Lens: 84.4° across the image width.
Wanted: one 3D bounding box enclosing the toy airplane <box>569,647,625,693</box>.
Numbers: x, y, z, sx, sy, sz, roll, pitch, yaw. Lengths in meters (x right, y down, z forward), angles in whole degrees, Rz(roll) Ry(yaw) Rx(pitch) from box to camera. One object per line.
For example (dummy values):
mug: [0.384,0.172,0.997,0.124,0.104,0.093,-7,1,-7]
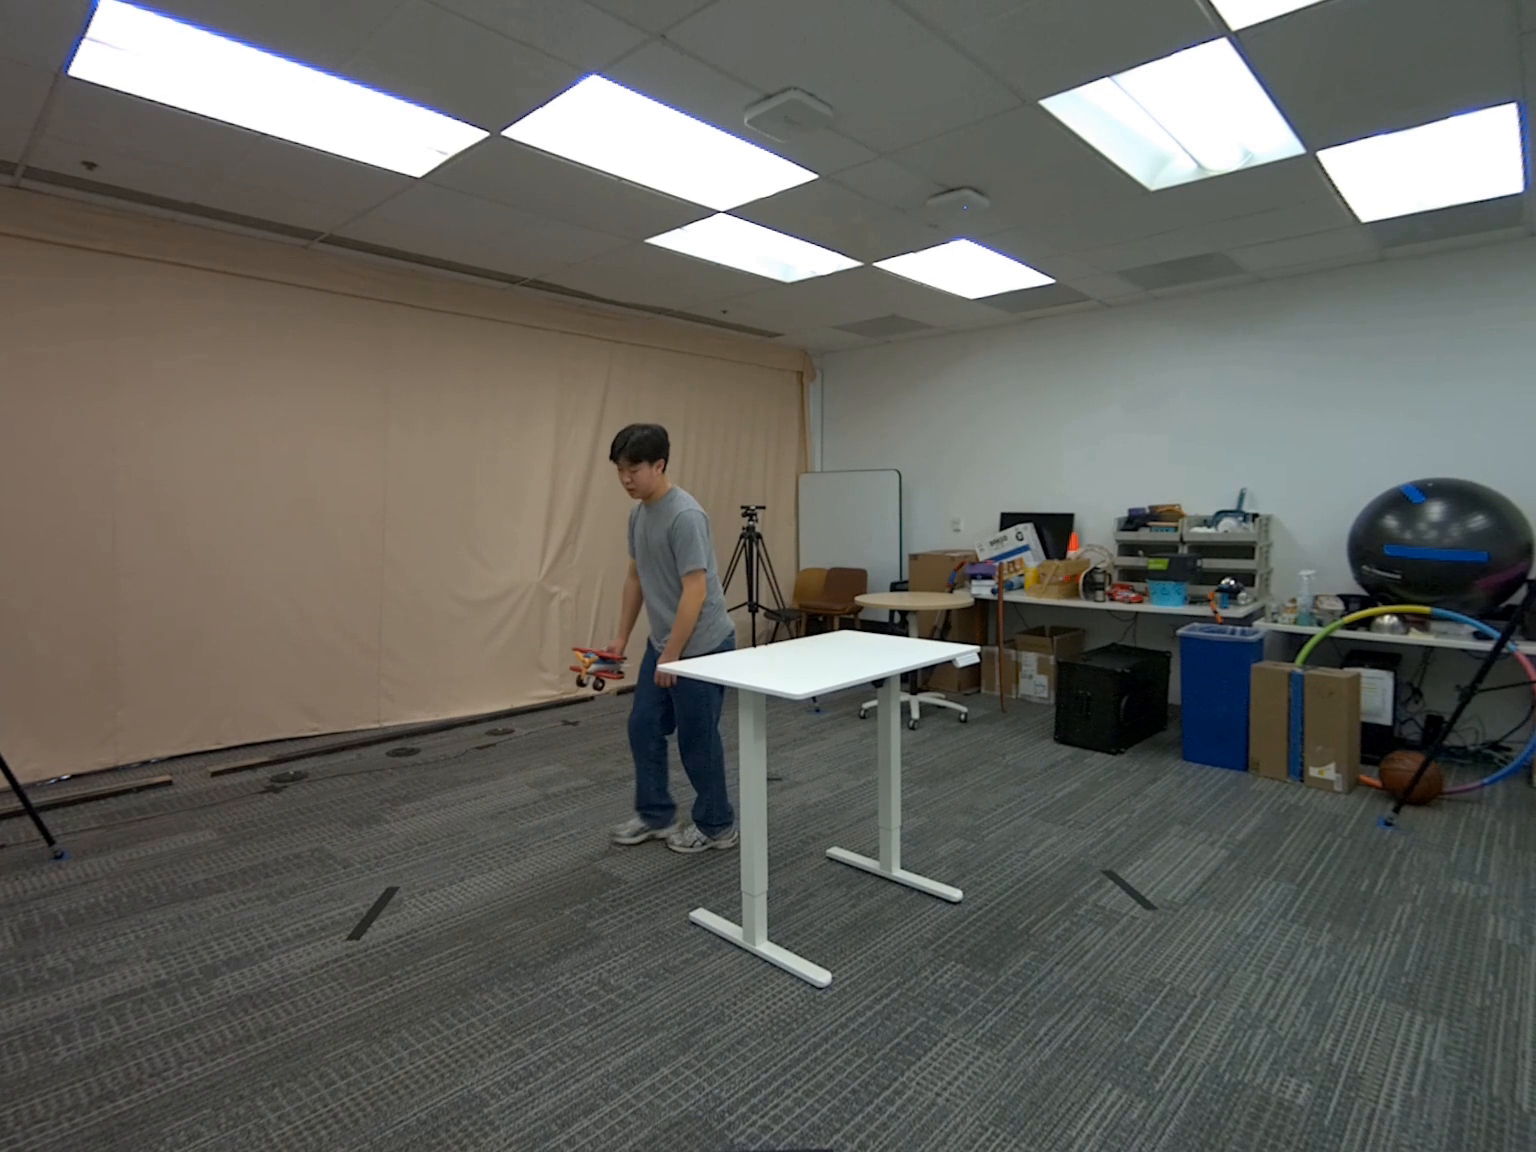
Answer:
toy airplane: [-0.689,0.380,3.464,0.252,0.155,0.260,2,9,2]
